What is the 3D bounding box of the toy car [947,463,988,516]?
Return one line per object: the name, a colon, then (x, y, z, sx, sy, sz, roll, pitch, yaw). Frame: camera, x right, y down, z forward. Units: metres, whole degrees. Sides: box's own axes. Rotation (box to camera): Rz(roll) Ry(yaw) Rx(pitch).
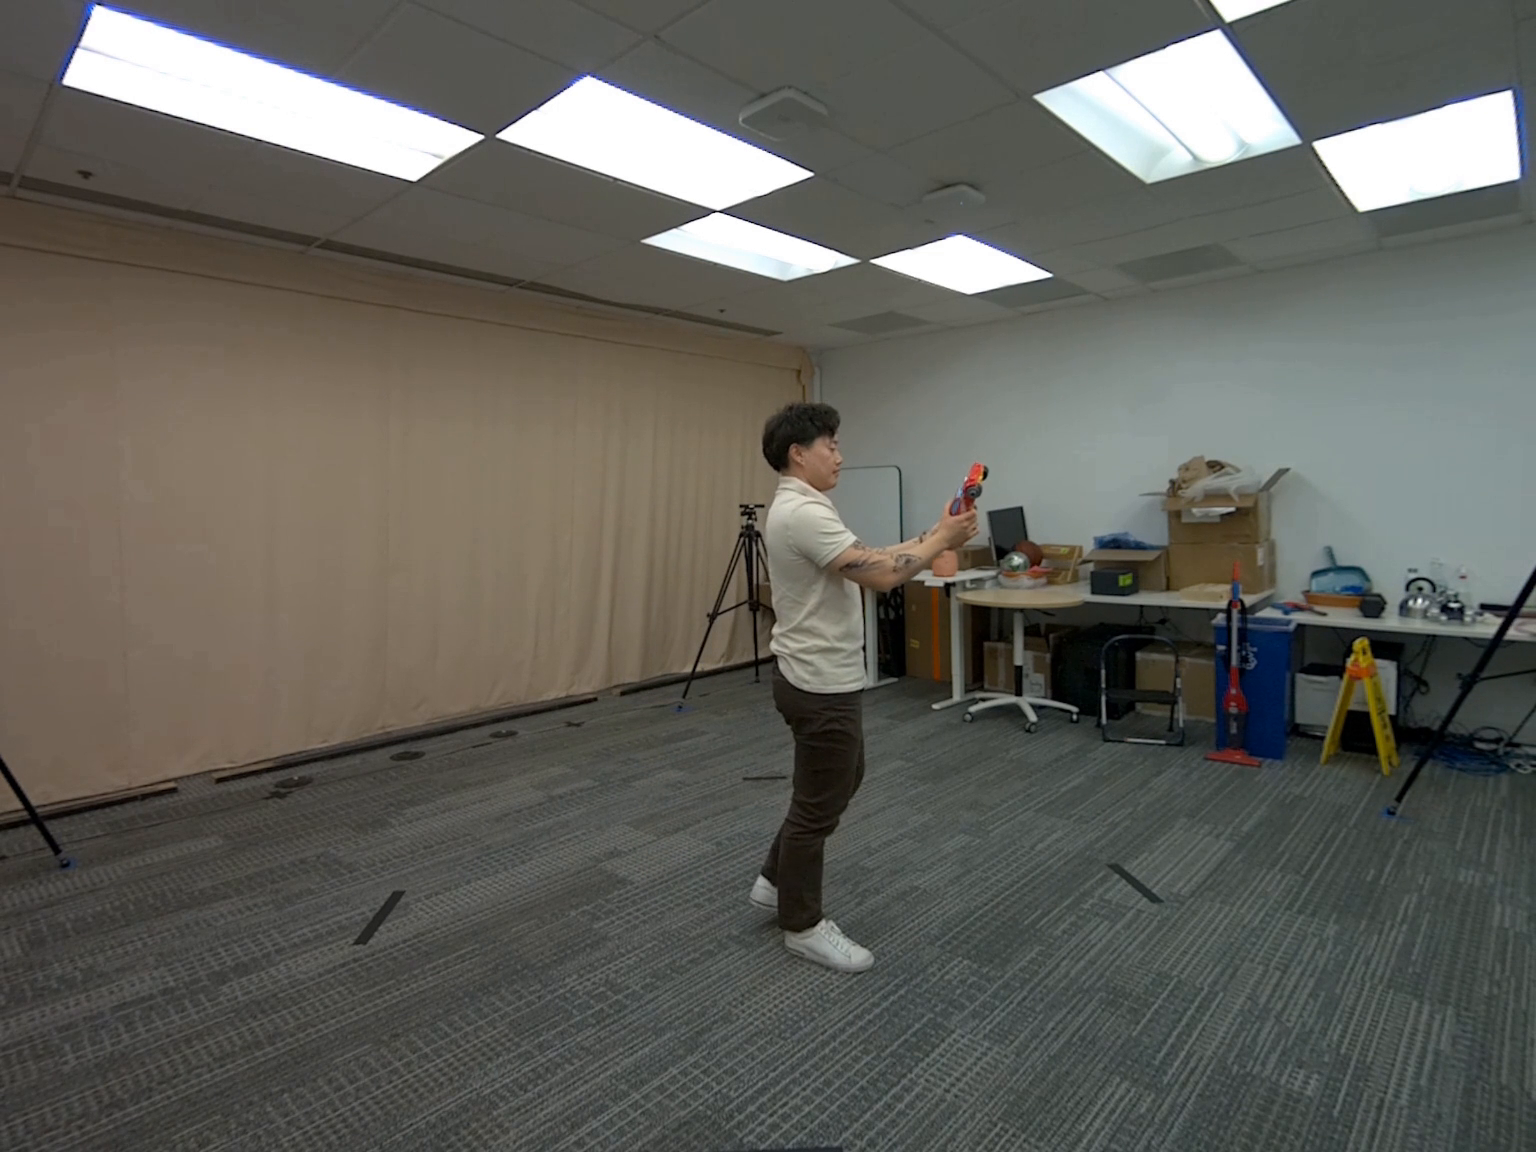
toy car: (0.587, -0.209, 2.445, 0.084, 0.252, 0.130, 27, 48, 6)
